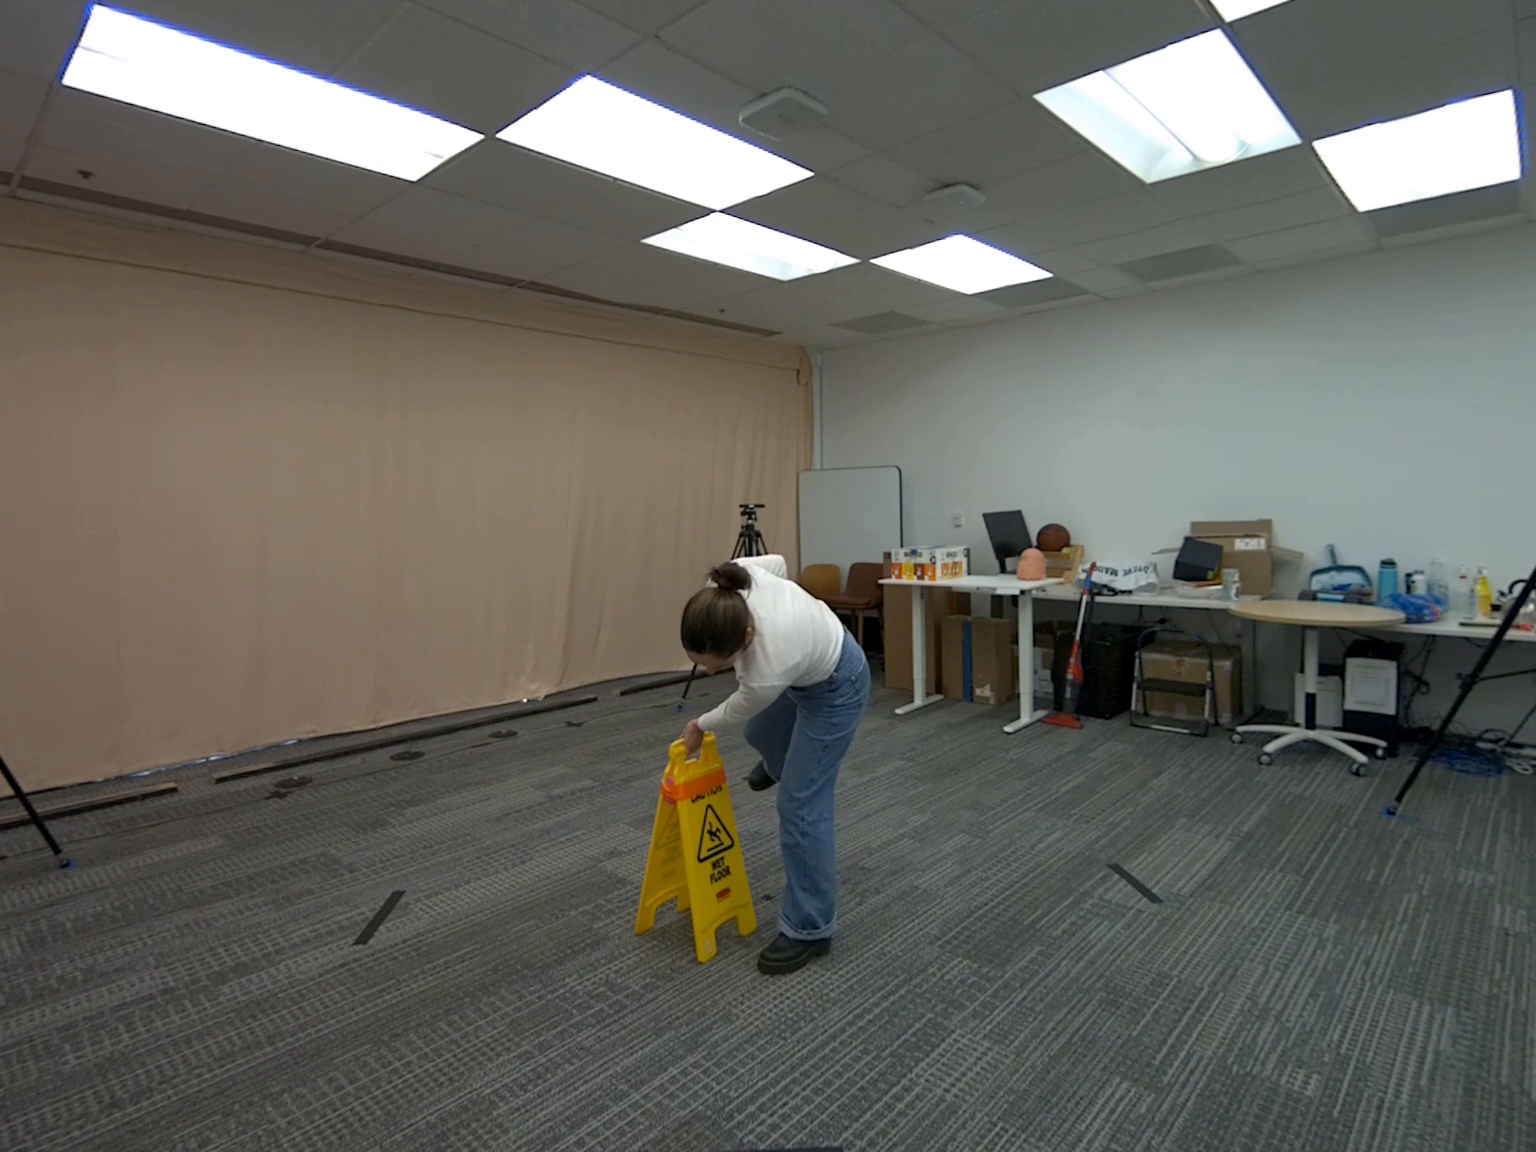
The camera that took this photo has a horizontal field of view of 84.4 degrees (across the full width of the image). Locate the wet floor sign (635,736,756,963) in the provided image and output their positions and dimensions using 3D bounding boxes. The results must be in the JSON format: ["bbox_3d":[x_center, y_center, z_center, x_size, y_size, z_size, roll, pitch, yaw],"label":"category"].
[{"bbox_3d":[-0.243,0.843,2.735,0.299,0.645,0.274,1,3,39],"label":"wet floor sign"}]
